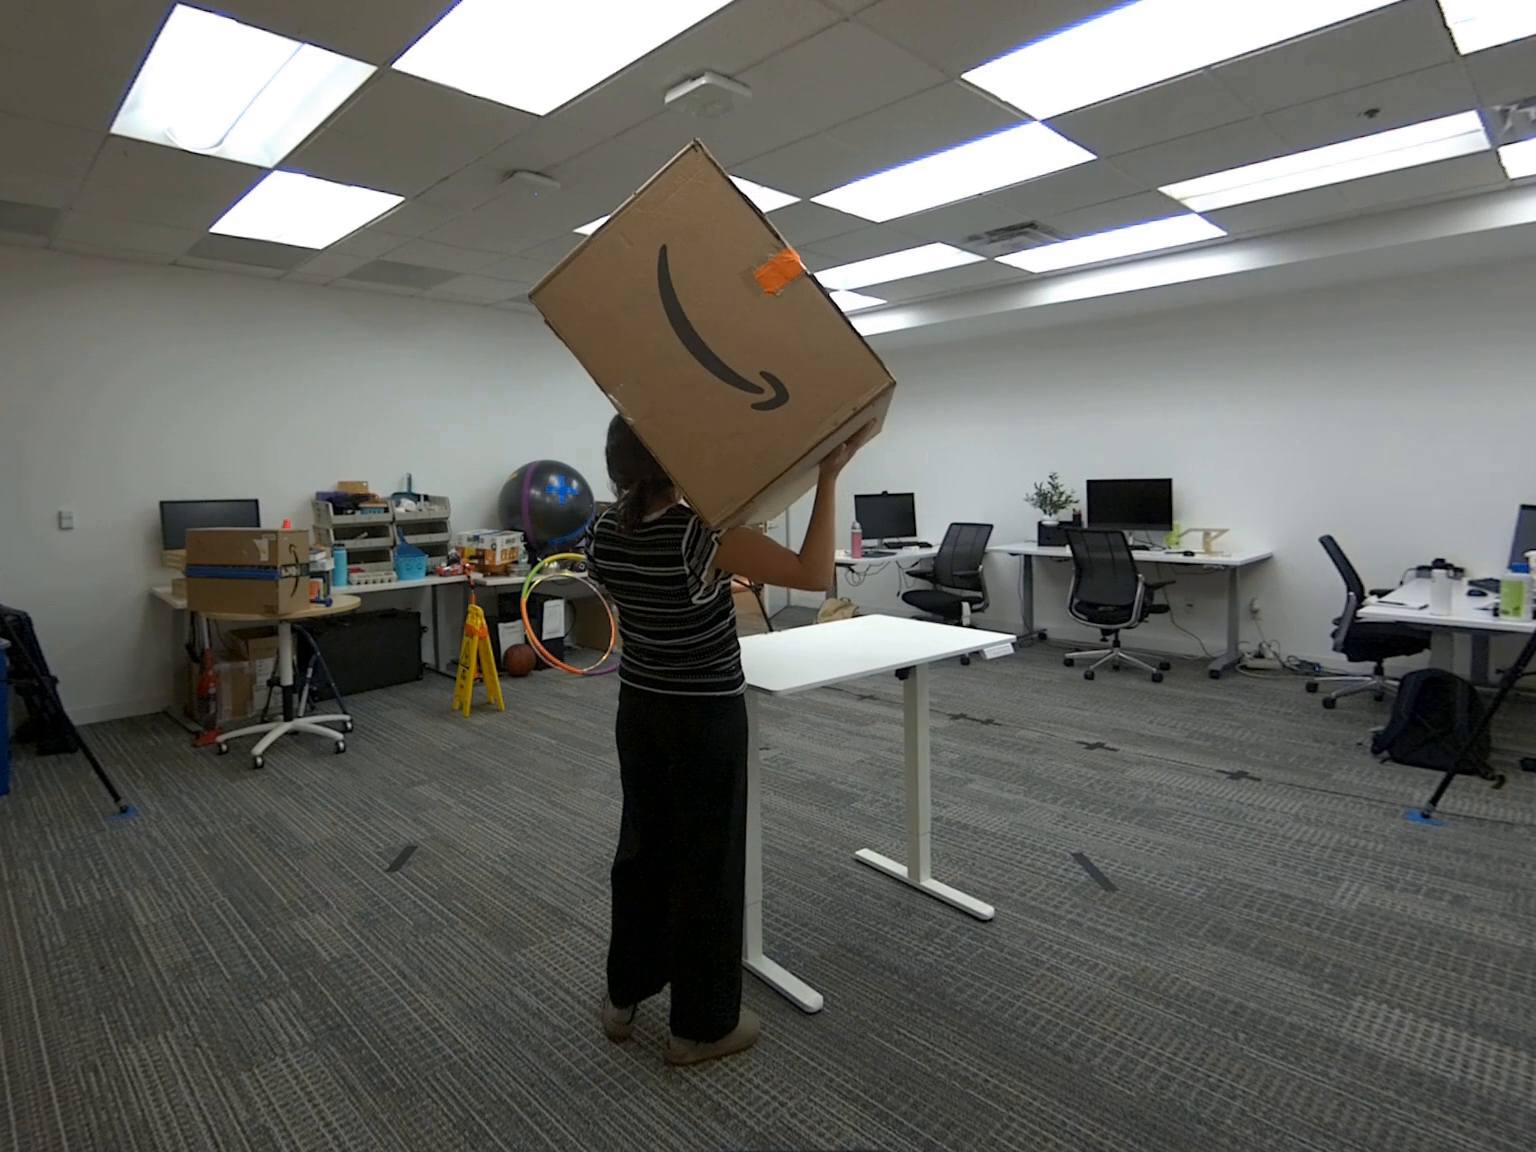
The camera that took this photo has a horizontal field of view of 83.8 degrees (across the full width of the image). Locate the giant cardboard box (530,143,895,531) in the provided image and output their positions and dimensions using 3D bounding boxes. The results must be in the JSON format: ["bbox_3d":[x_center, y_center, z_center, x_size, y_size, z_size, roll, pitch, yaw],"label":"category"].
[{"bbox_3d":[-0.053,-0.477,2.046,0.427,0.579,1.021,-39,-1,7],"label":"giant cardboard box"}]
